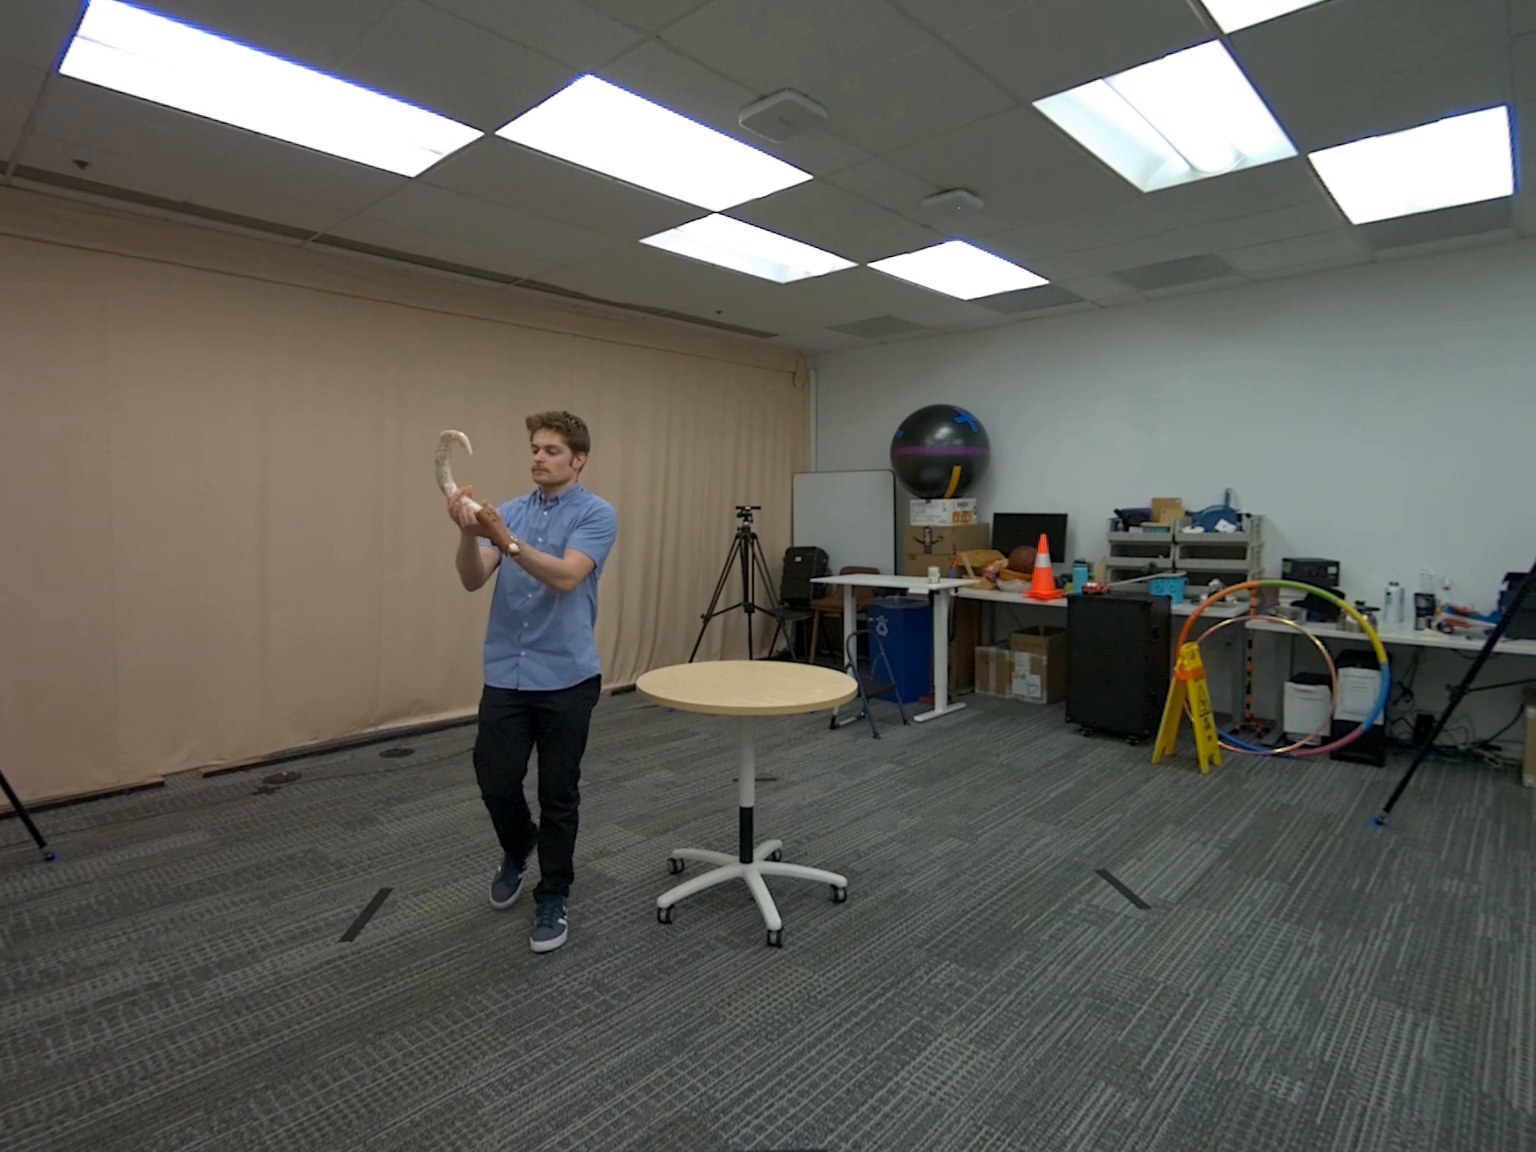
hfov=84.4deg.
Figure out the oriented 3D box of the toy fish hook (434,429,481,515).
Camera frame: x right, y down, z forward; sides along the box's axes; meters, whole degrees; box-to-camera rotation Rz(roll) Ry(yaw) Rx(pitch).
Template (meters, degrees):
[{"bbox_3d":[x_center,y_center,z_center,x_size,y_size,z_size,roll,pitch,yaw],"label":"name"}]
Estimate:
[{"bbox_3d":[-0.819,-0.237,2.373,0.047,0.223,0.524,-14,44,-40],"label":"toy fish hook"}]
